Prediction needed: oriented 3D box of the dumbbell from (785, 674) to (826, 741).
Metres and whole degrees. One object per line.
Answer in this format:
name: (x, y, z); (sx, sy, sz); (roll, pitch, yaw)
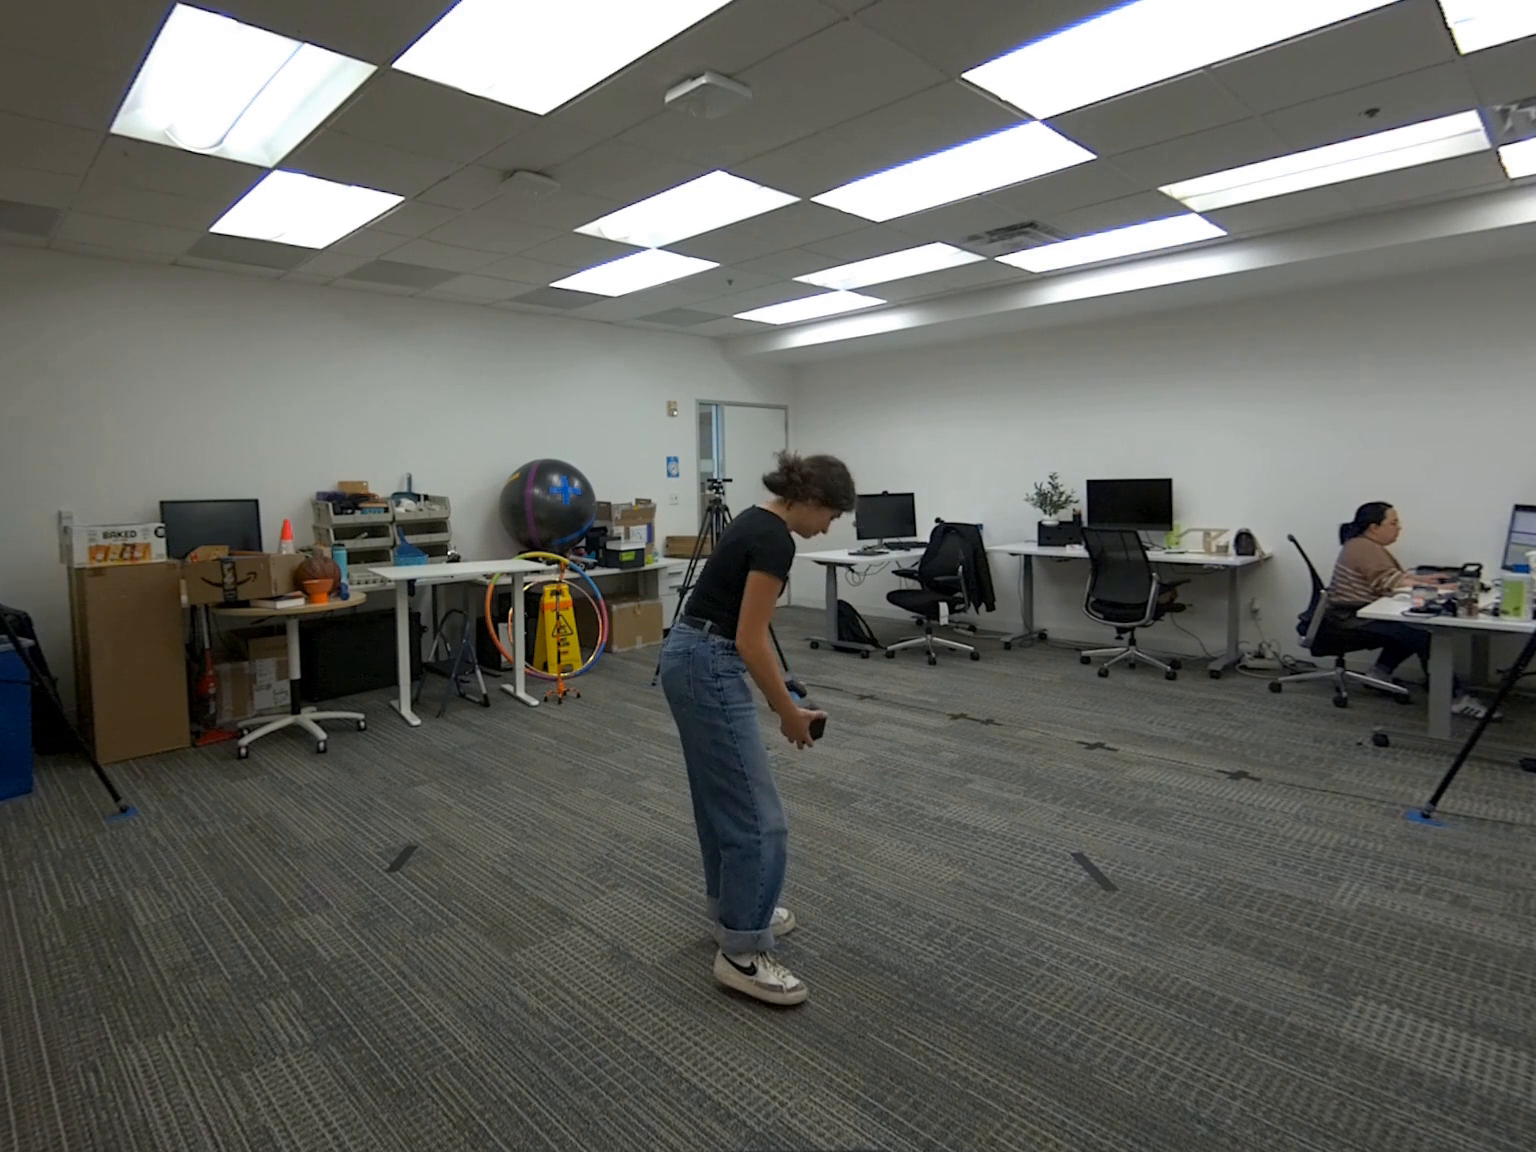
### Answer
dumbbell: (0.082, 0.399, 2.533); (0.122, 0.107, 0.299); (-21, 15, -8)
